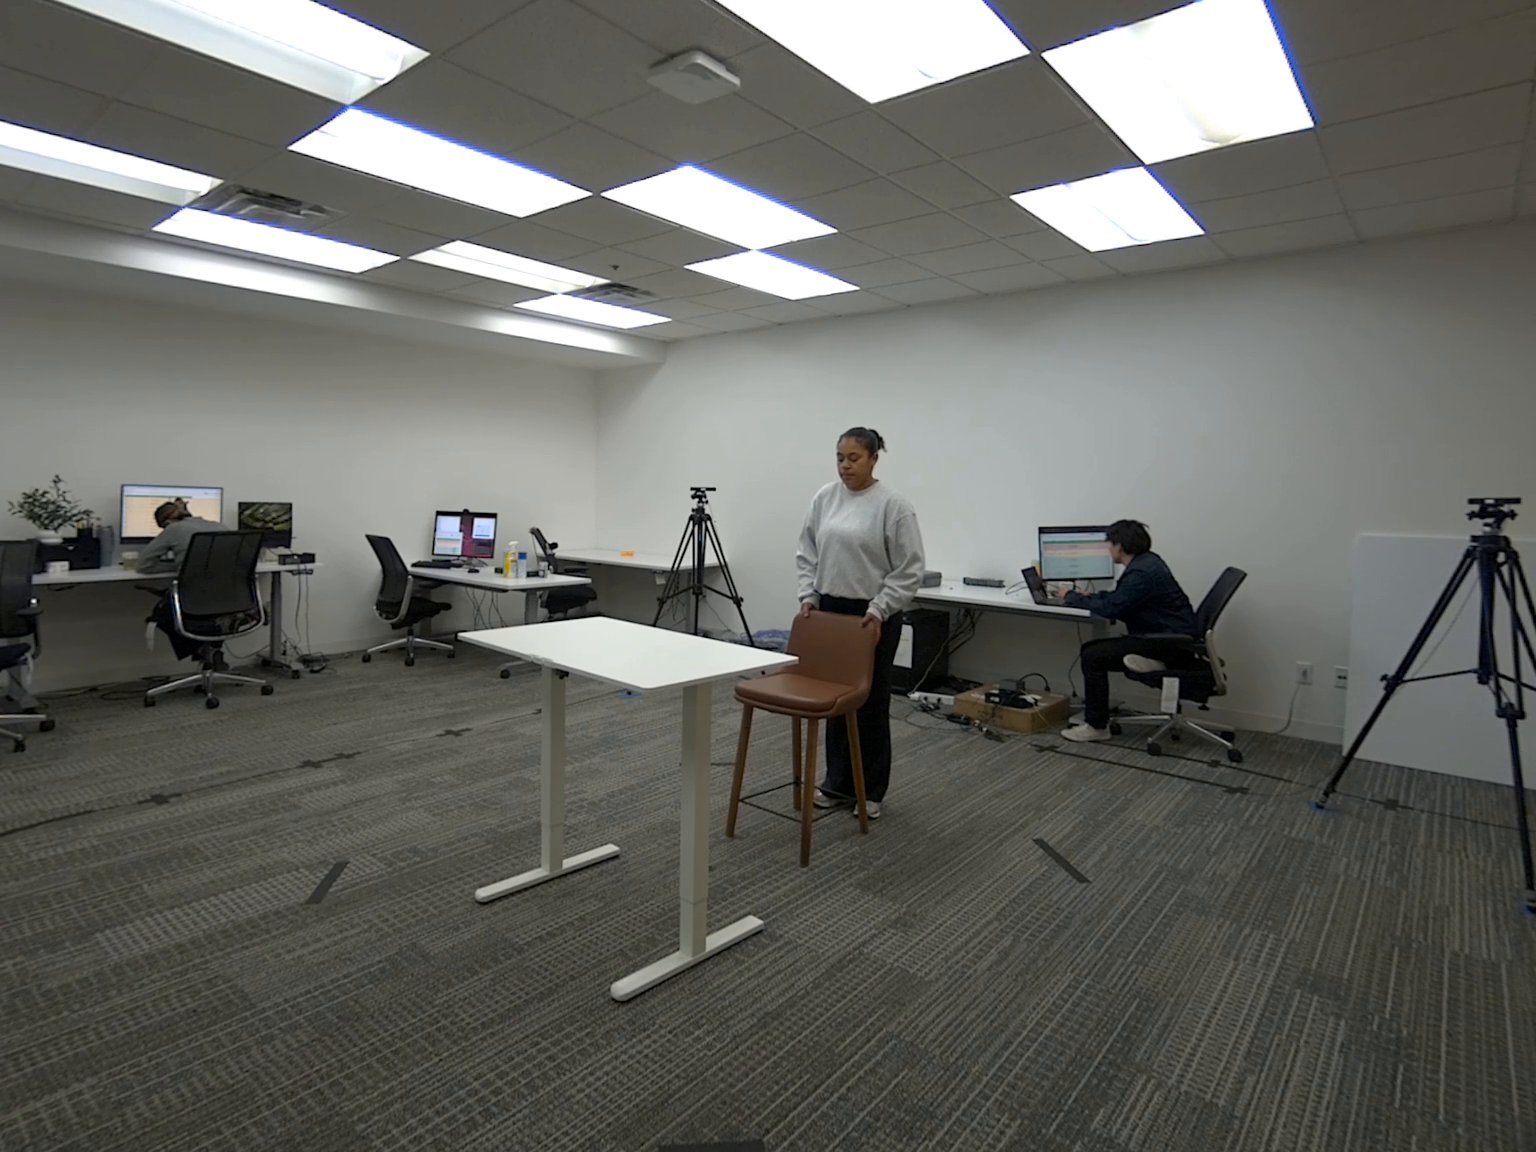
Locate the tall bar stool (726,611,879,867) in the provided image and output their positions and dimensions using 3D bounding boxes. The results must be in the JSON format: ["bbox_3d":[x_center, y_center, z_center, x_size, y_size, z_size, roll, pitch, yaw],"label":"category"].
[{"bbox_3d":[0.133,0.603,3.420,0.472,0.889,0.453,4,2,41],"label":"tall bar stool"}]
